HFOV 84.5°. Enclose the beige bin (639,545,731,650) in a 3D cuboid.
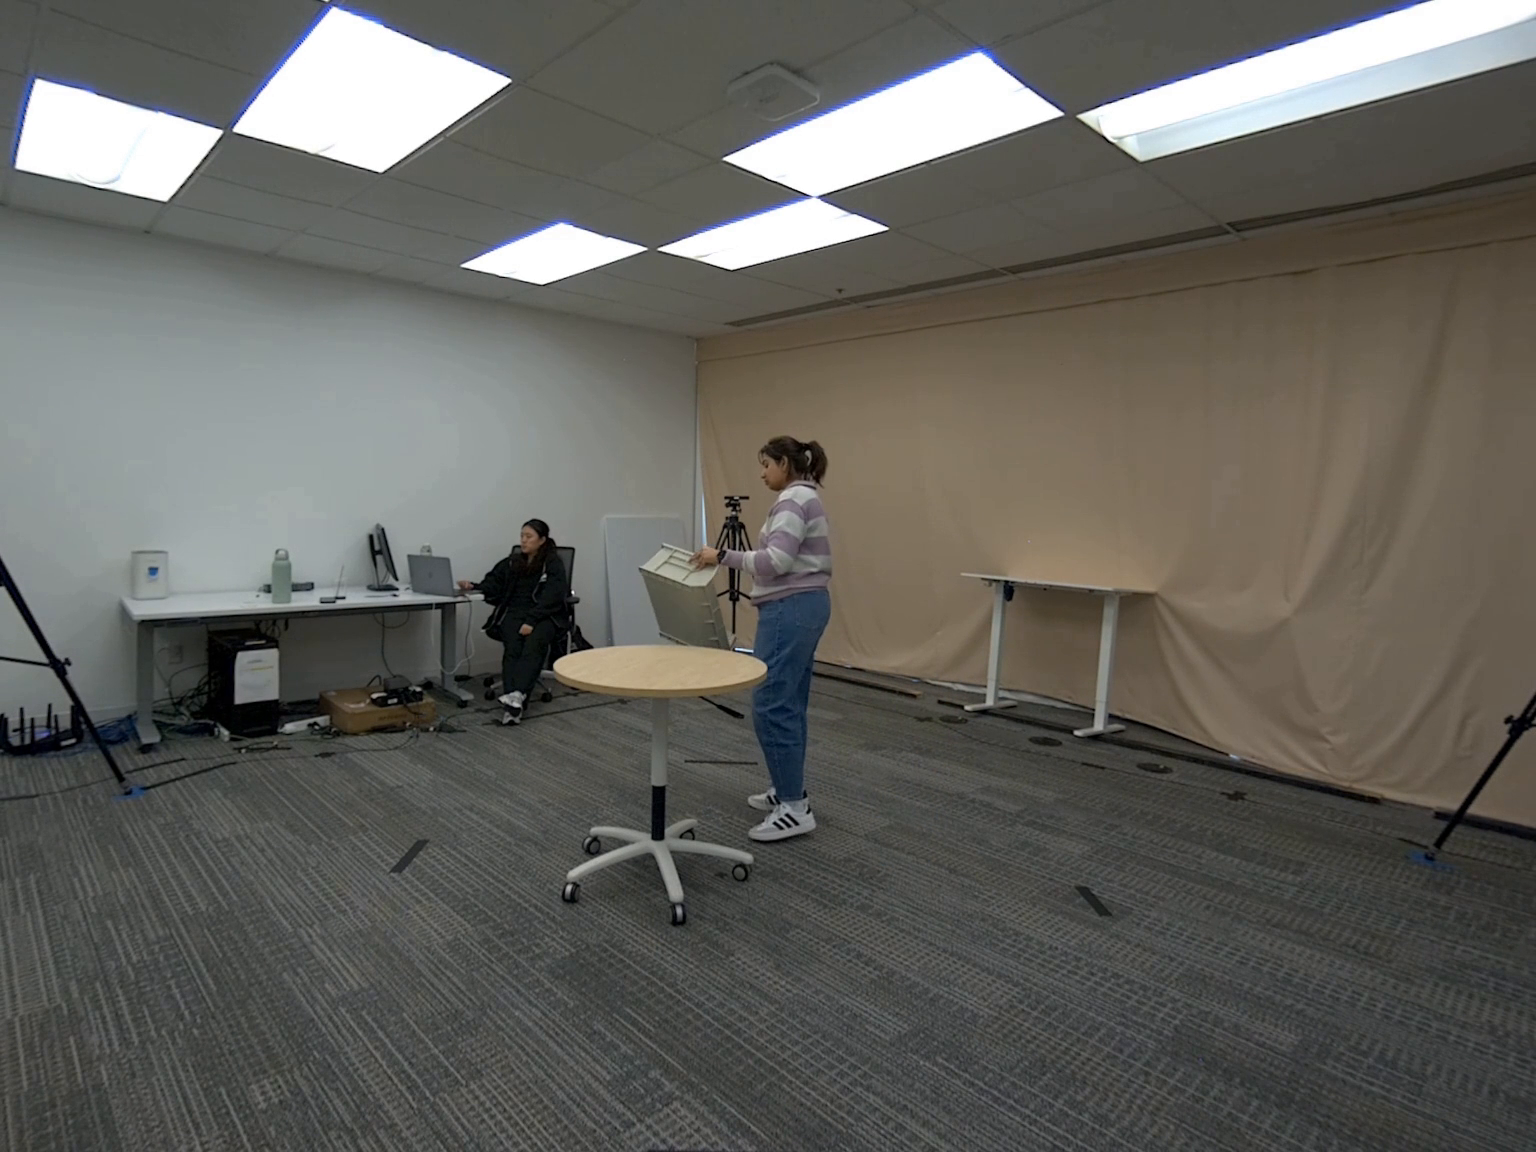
[{"bbox_3d":[-0.347,0.112,3.703,0.388,0.412,0.188,18,45,35],"label":"beige bin"}]
